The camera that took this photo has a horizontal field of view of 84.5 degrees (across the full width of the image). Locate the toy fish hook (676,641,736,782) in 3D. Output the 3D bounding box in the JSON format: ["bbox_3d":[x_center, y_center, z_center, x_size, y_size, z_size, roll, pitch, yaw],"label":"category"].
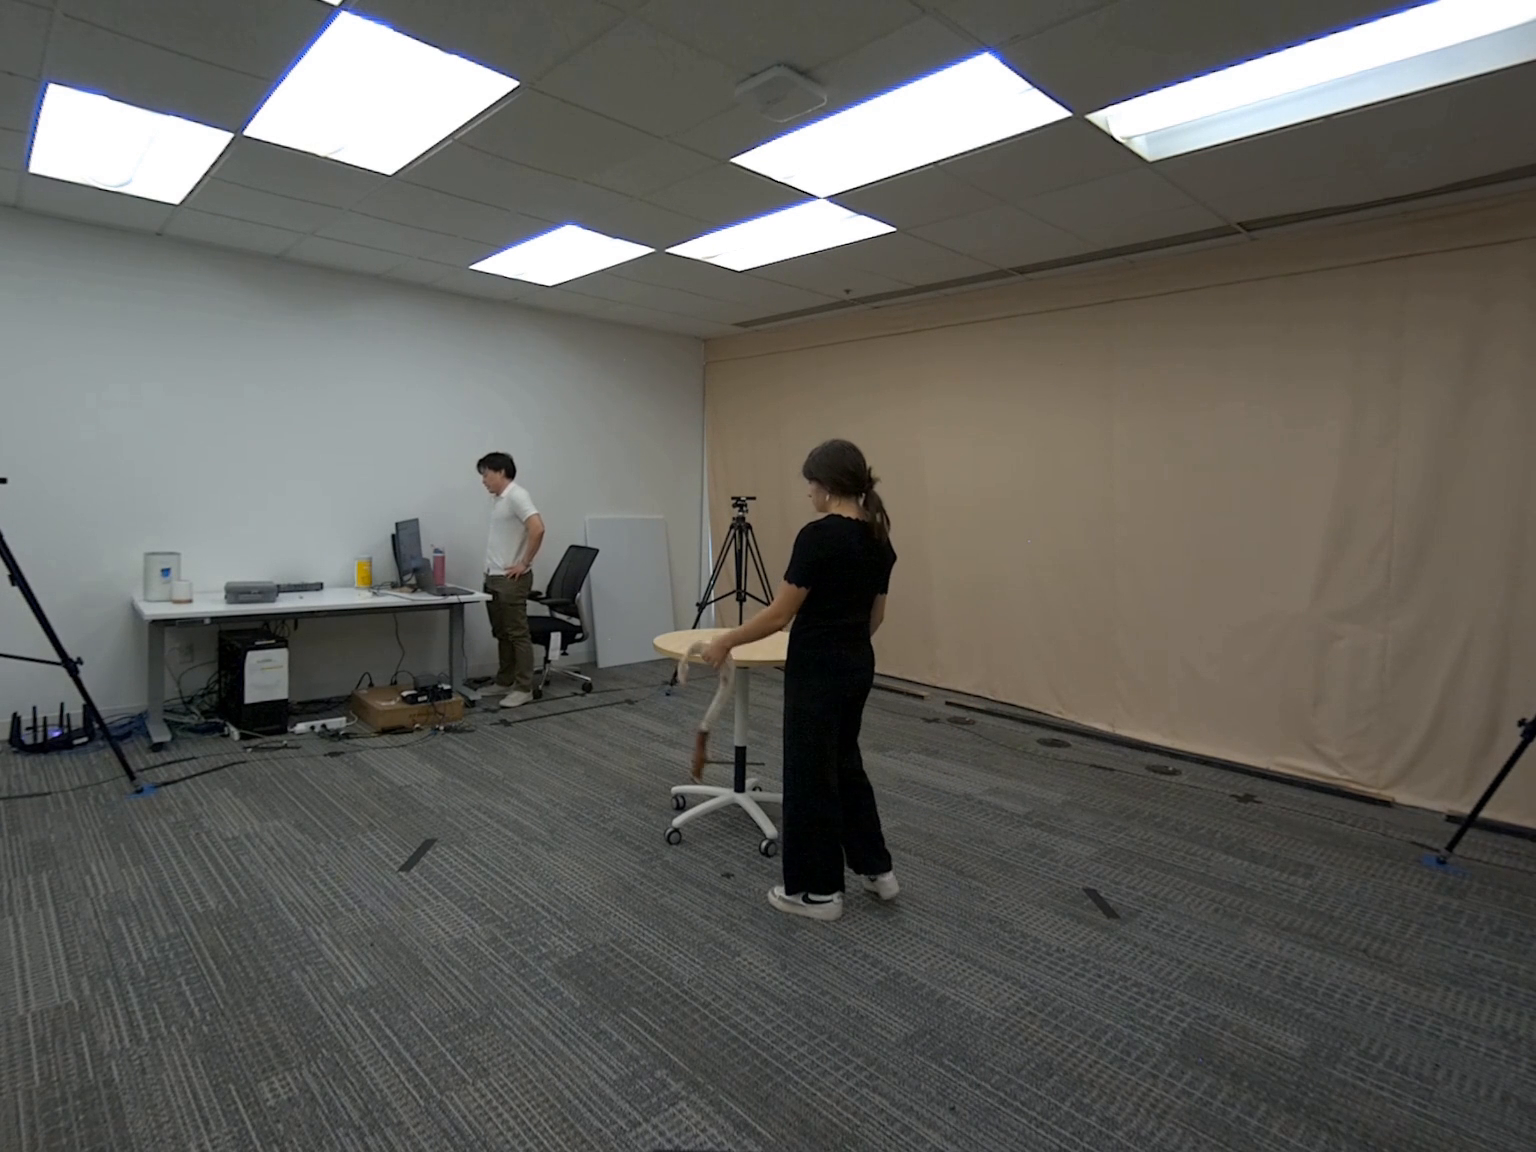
[{"bbox_3d":[-0.232,0.432,2.911,0.231,0.504,0.047,19,12,33],"label":"toy fish hook"}]
